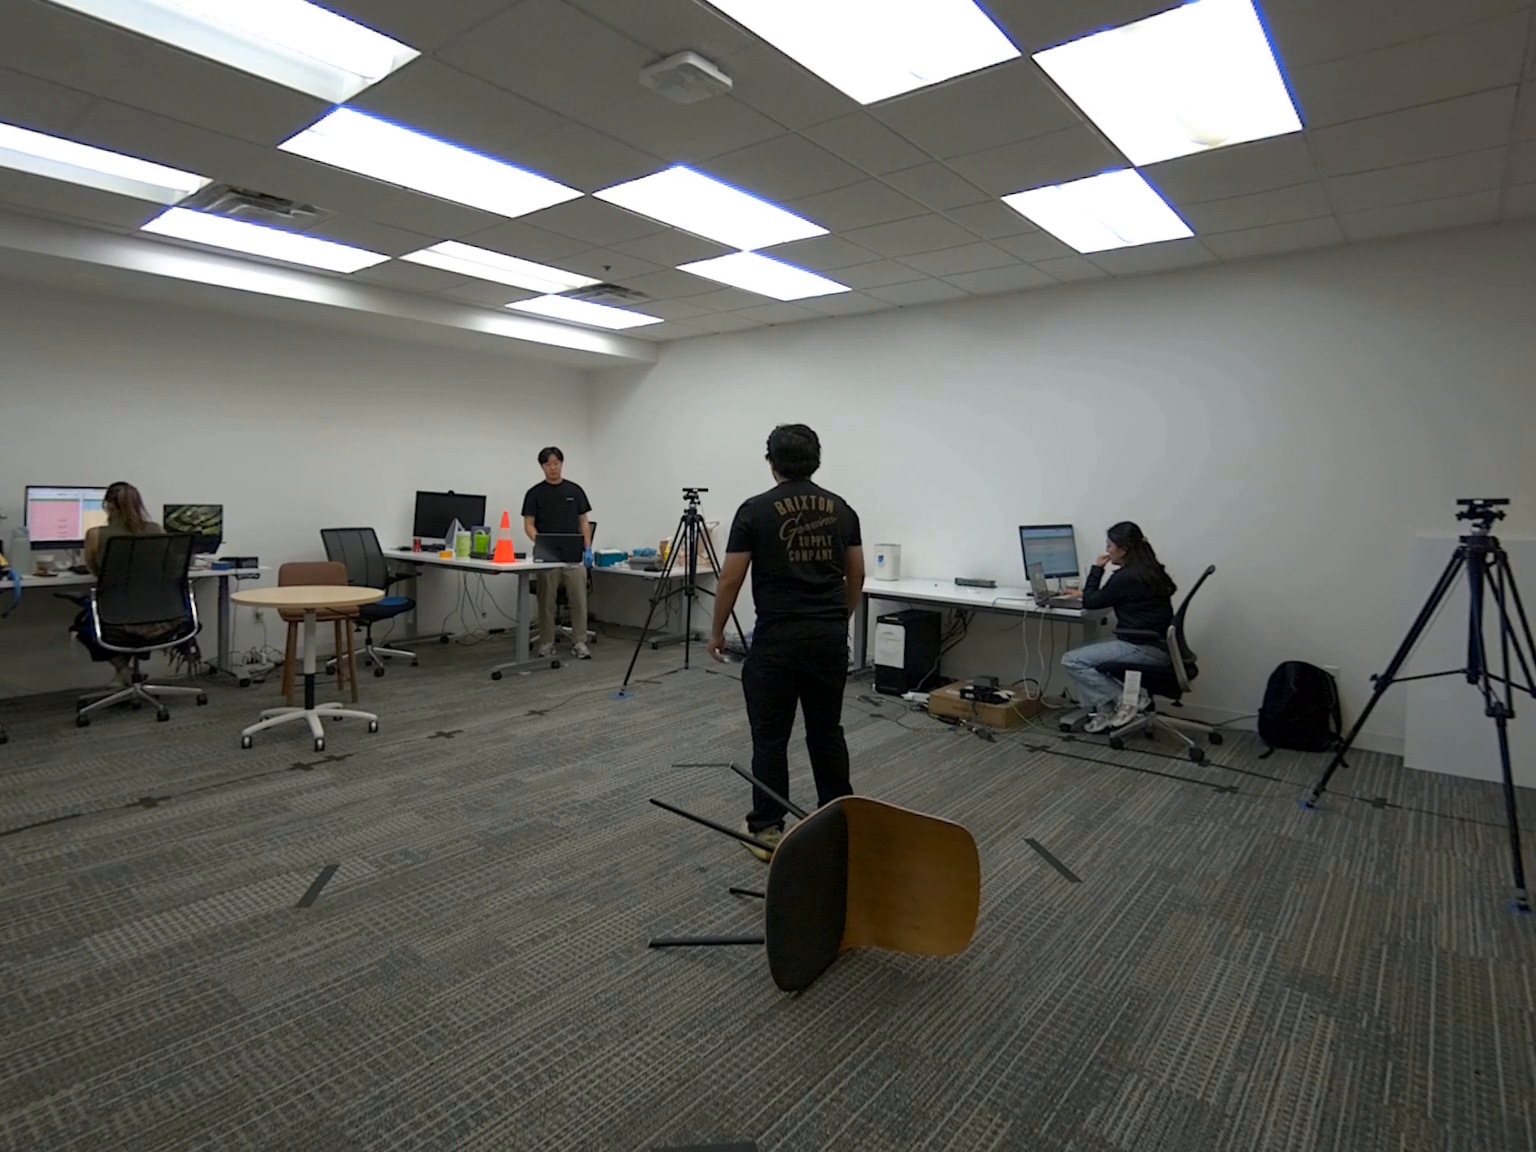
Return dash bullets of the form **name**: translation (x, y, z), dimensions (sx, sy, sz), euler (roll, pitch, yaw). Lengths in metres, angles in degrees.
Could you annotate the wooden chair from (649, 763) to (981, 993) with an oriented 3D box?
- **wooden chair**: translation (0.118, 0.907, 2.502), dimensions (0.902, 0.477, 0.510), euler (4, 5, 29)
